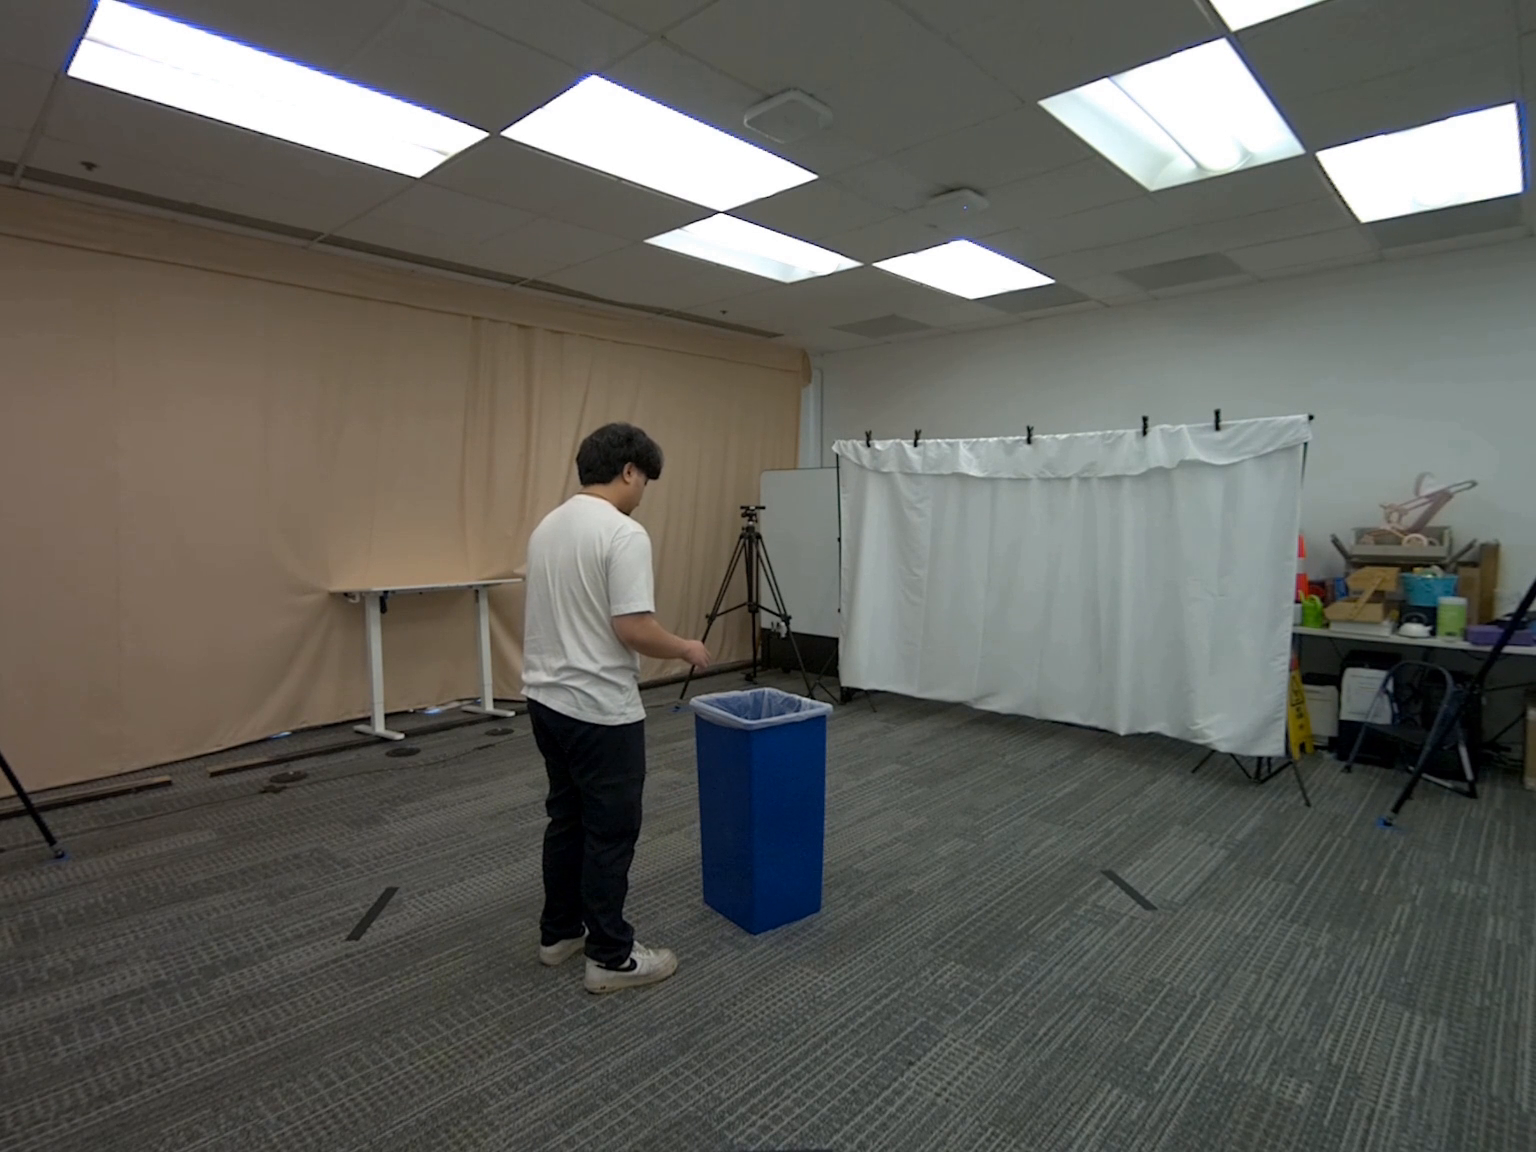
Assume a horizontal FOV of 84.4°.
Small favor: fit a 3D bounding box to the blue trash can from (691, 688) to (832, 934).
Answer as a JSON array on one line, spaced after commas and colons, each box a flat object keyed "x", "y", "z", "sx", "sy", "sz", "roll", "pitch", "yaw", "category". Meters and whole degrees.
[{"x": -0.025, "y": 0.792, "z": 2.907, "sx": 0.363, "sy": 0.712, "sz": 0.390, "roll": -2, "pitch": 4, "yaw": -37, "category": "blue trash can"}]
